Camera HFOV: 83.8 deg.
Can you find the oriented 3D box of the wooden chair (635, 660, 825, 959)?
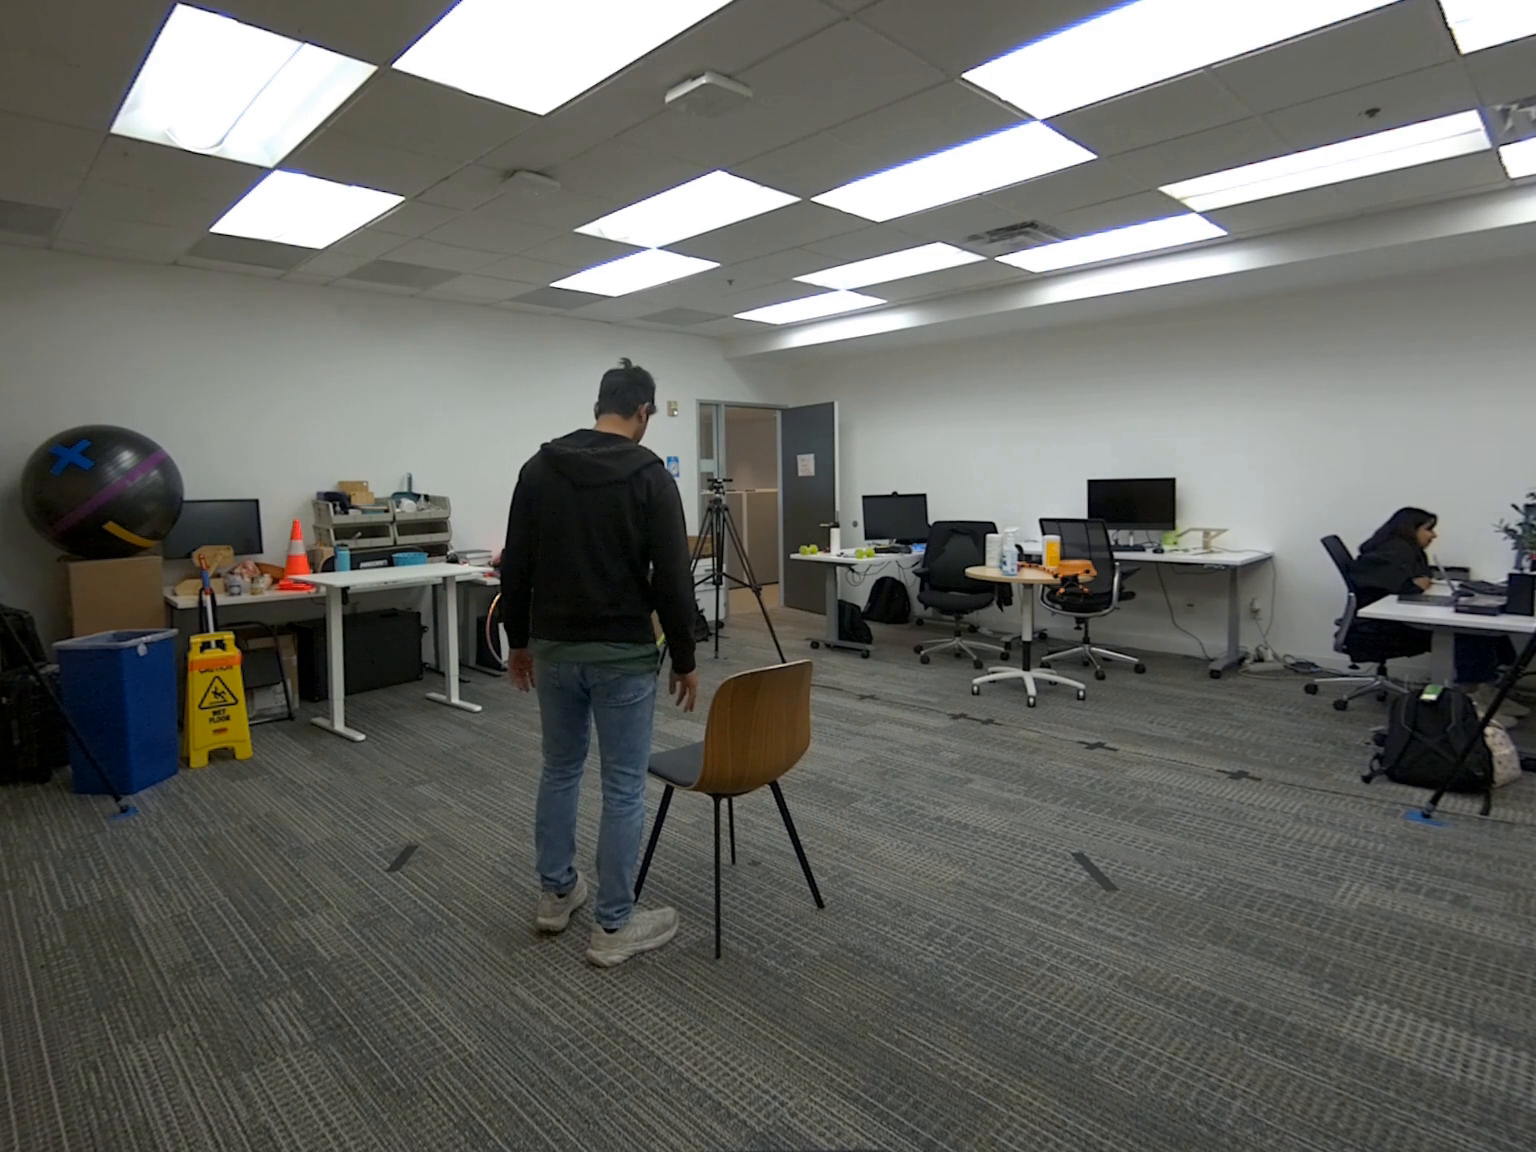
[{"bbox_3d":[-0.139,0.655,2.782,0.466,0.871,0.541,-5,11,-41],"label":"wooden chair"}]
